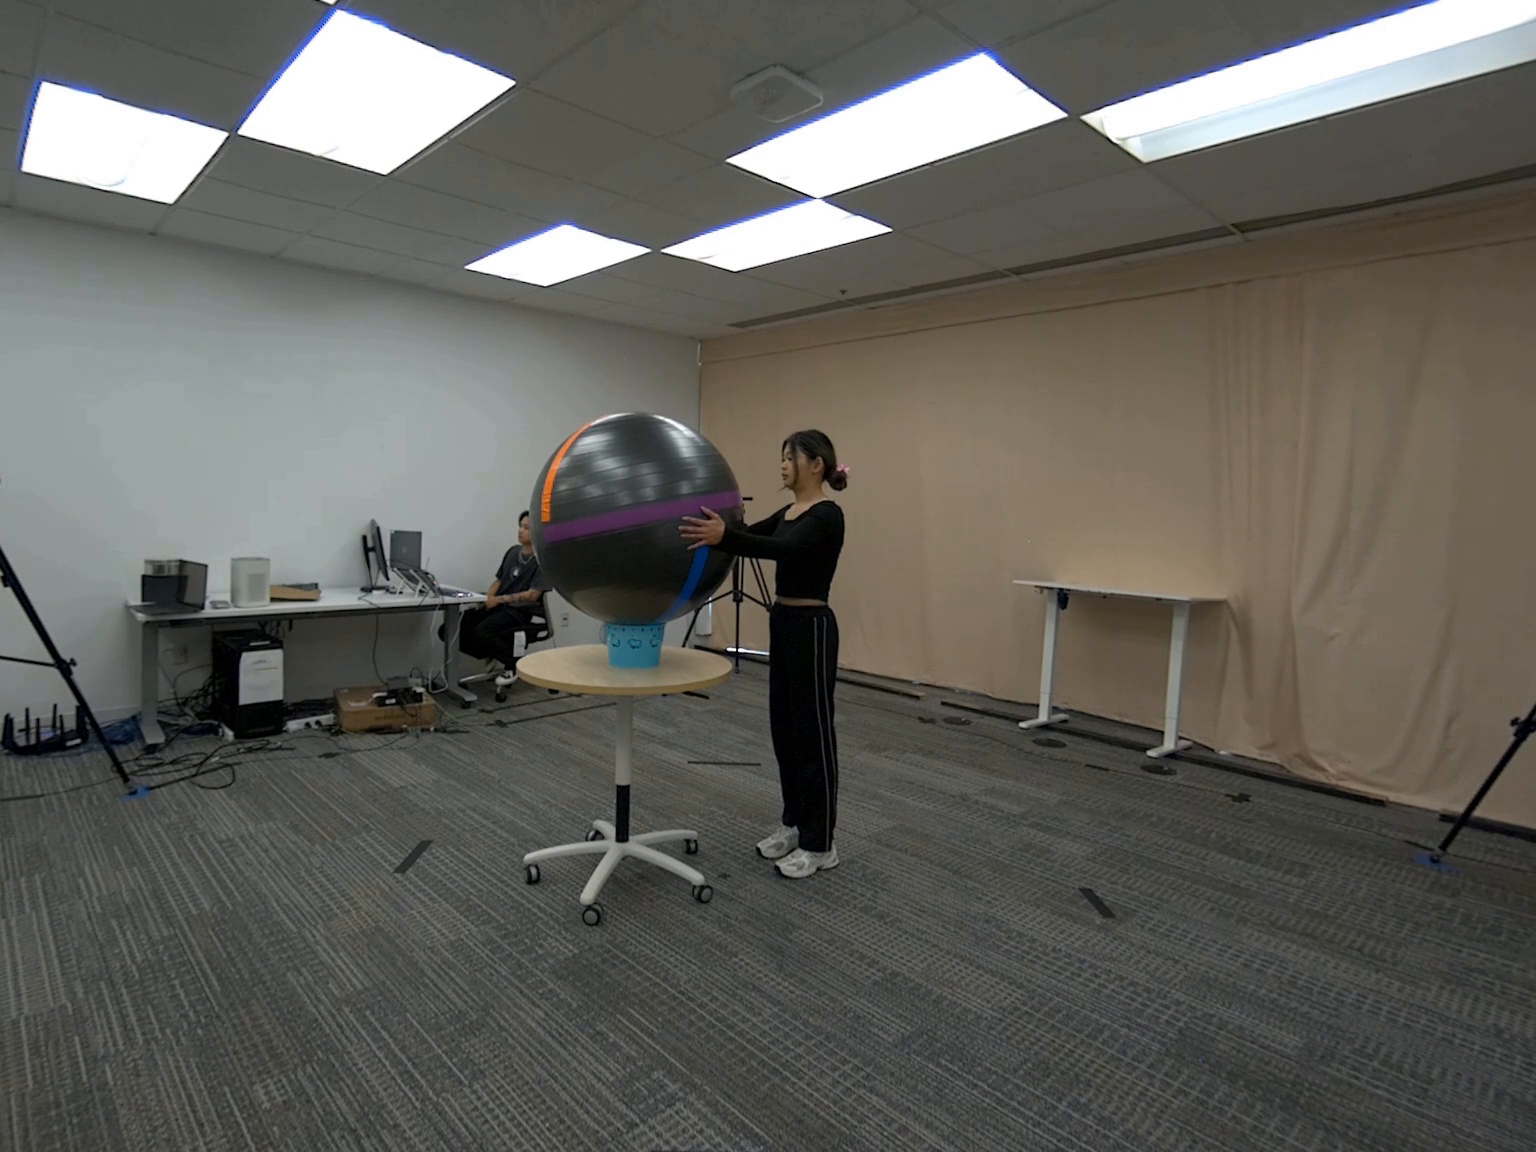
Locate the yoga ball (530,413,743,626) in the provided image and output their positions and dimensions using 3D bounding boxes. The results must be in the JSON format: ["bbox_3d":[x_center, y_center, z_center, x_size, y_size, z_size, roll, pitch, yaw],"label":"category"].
[{"bbox_3d":[-0.481,-0.193,3.007,0.757,0.756,0.761,1,4,-1],"label":"yoga ball"}]
